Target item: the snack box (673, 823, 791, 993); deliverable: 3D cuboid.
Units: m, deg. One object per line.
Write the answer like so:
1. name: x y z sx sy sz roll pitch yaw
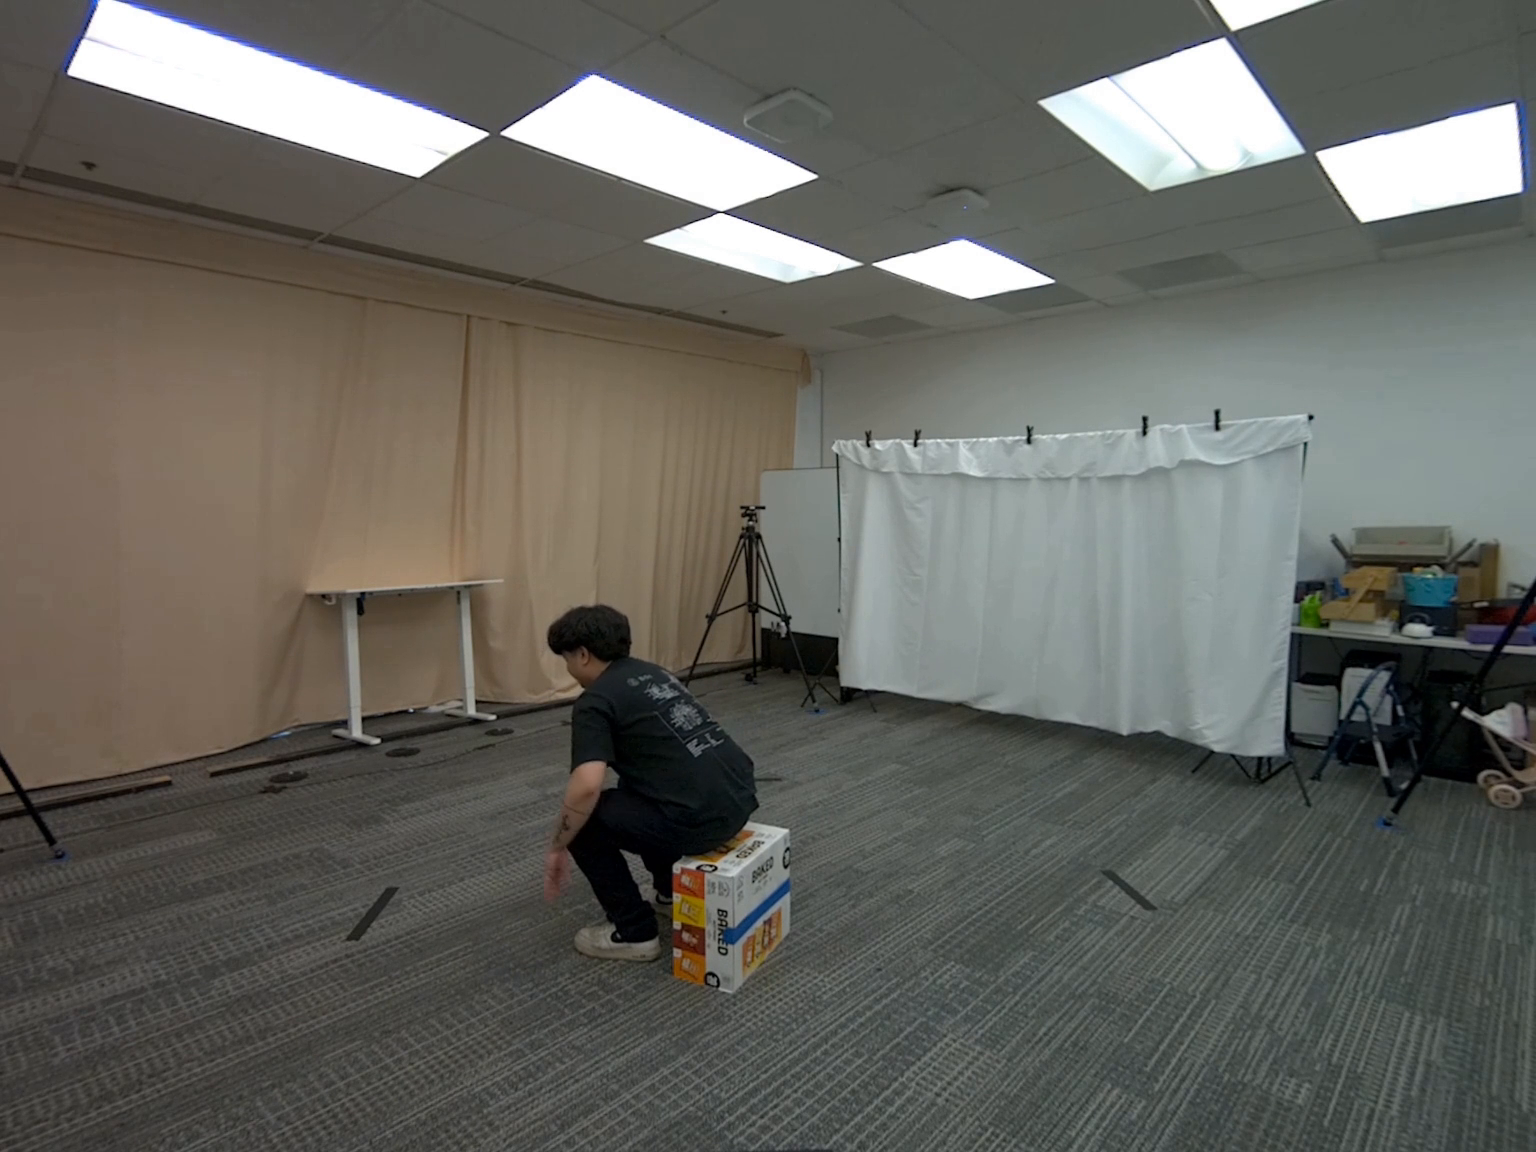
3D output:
1. snack box: -0.099 1.010 2.612 0.211 0.339 0.395 2 4 26
